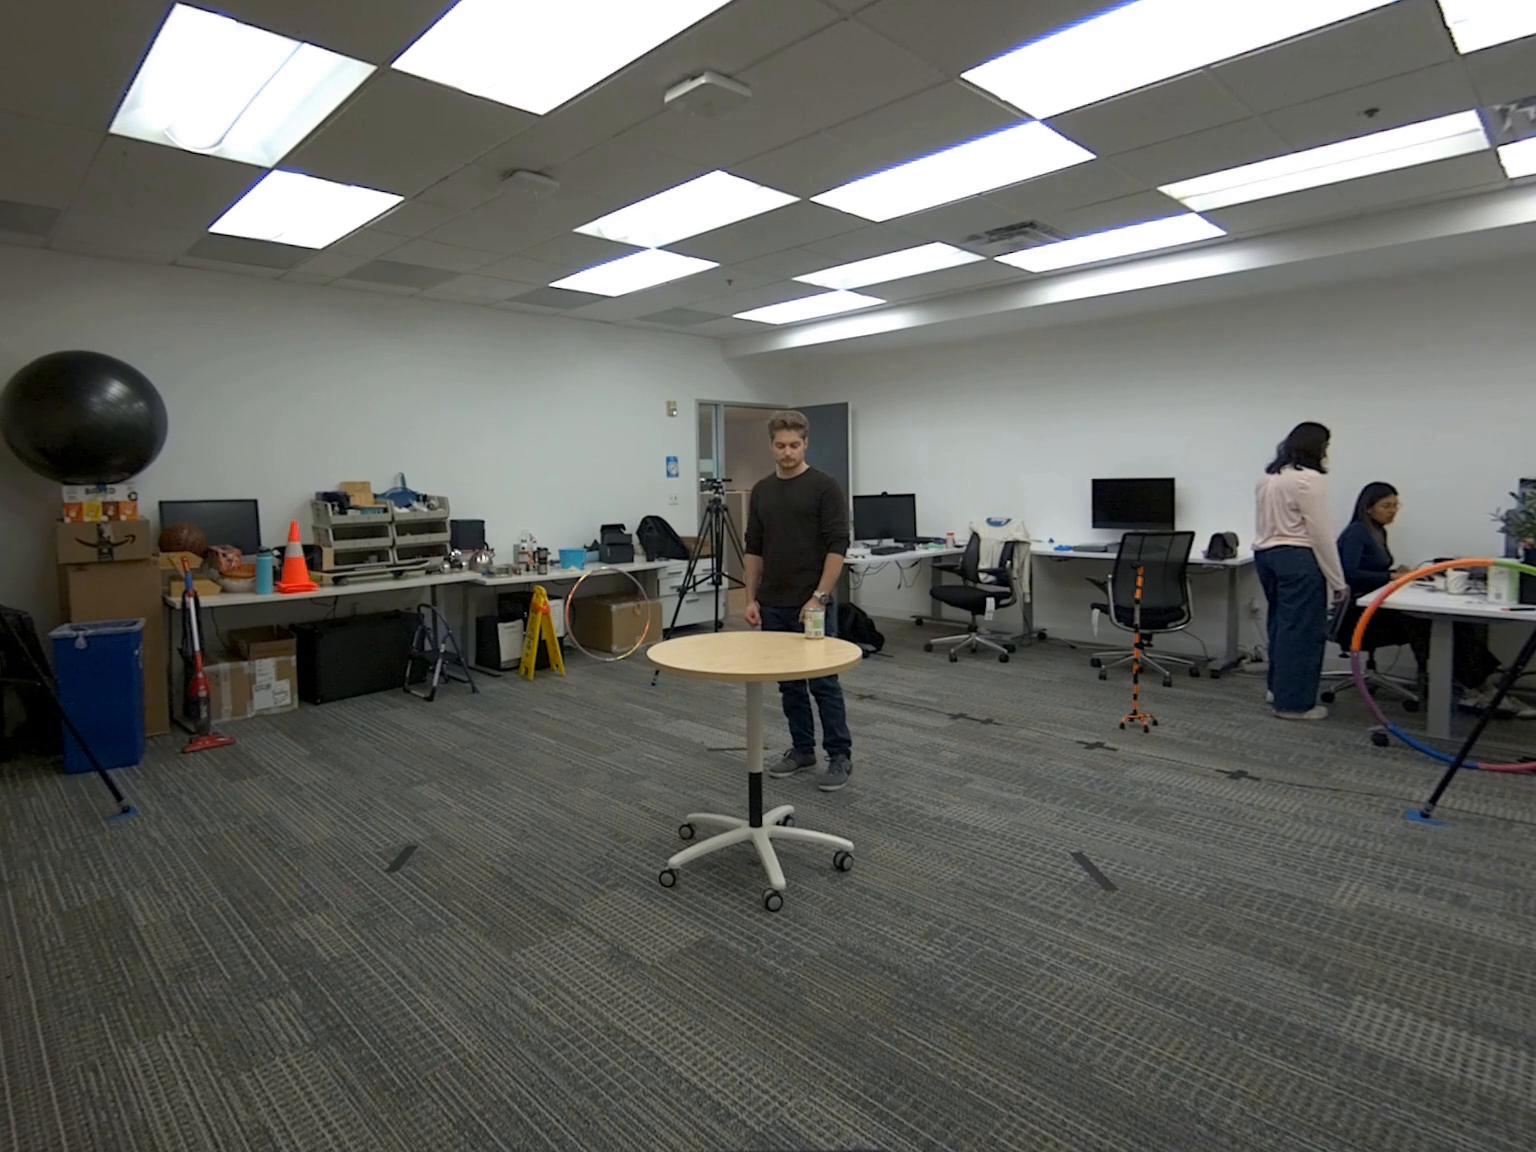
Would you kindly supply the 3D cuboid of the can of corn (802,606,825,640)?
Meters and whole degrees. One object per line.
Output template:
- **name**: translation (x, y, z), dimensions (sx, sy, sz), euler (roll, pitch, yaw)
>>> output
- **can of corn**: translation (0.185, 0.187, 3.274), dimensions (0.074, 0.111, 0.074), euler (-1, 0, -2)
